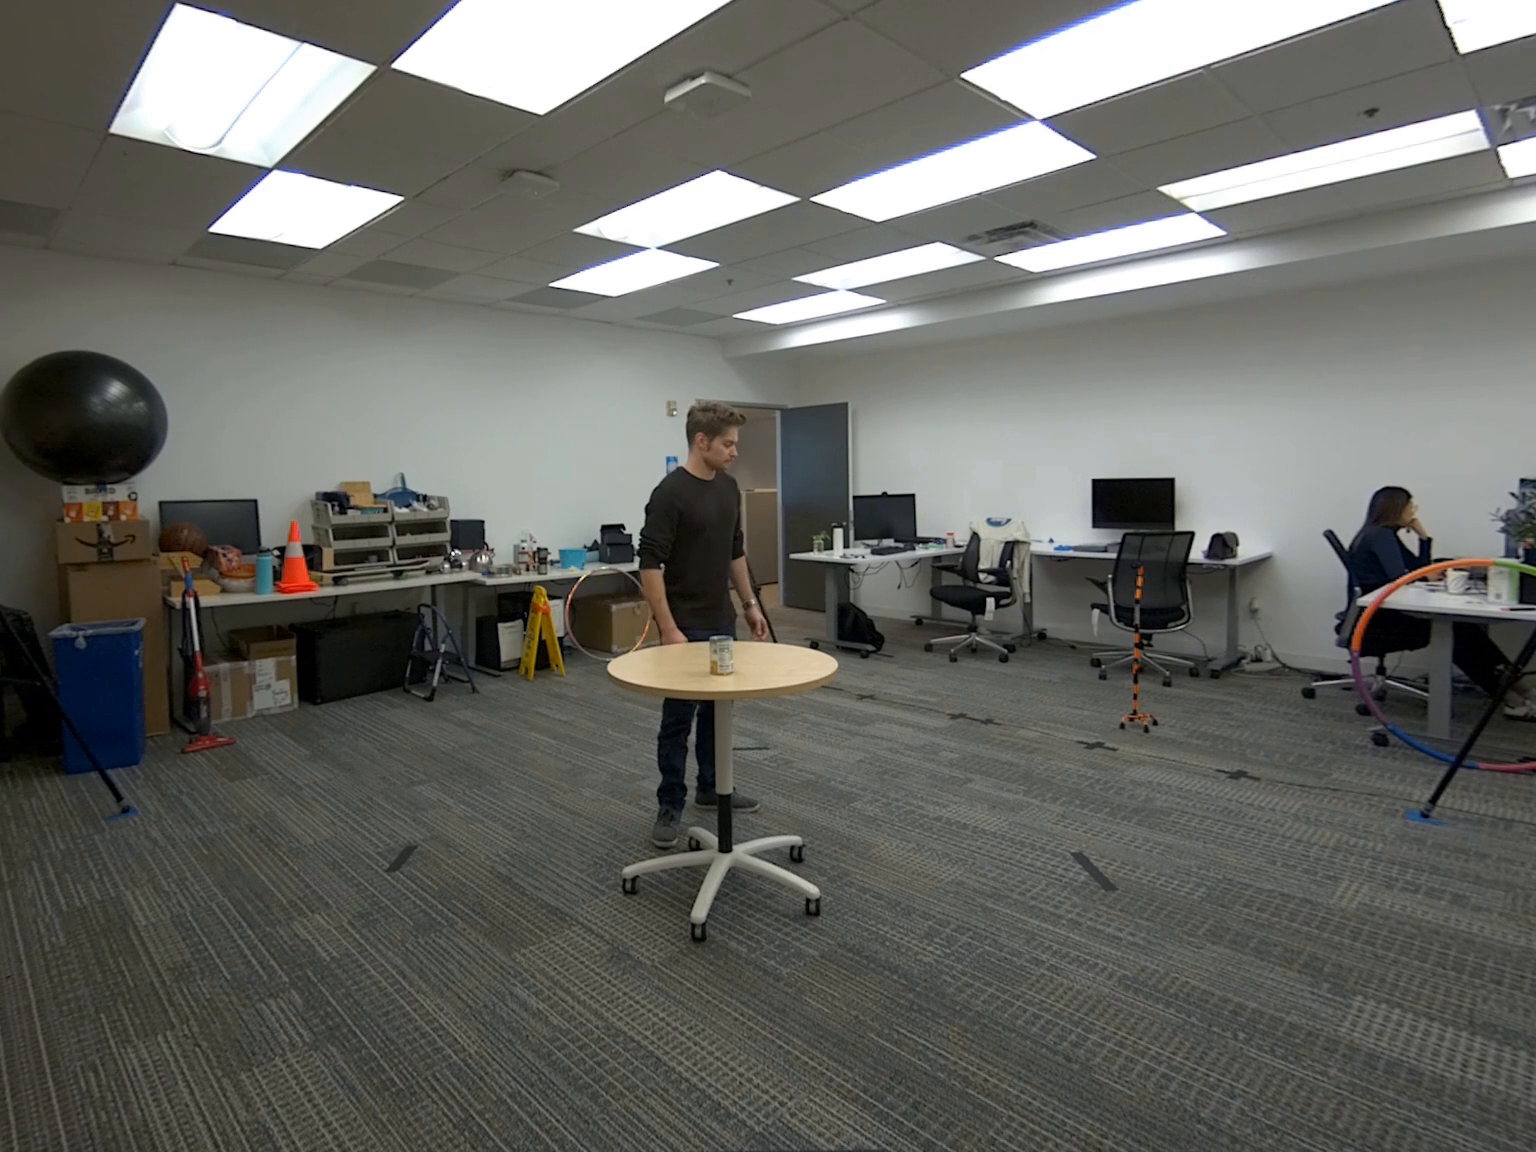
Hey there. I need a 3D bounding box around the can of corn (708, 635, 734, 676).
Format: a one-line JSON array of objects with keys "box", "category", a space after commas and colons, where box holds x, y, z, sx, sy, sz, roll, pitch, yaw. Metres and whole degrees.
[{"box": [-0.146, 0.254, 2.697, 0.074, 0.110, 0.075, -3, 6, -1], "category": "can of corn"}]
